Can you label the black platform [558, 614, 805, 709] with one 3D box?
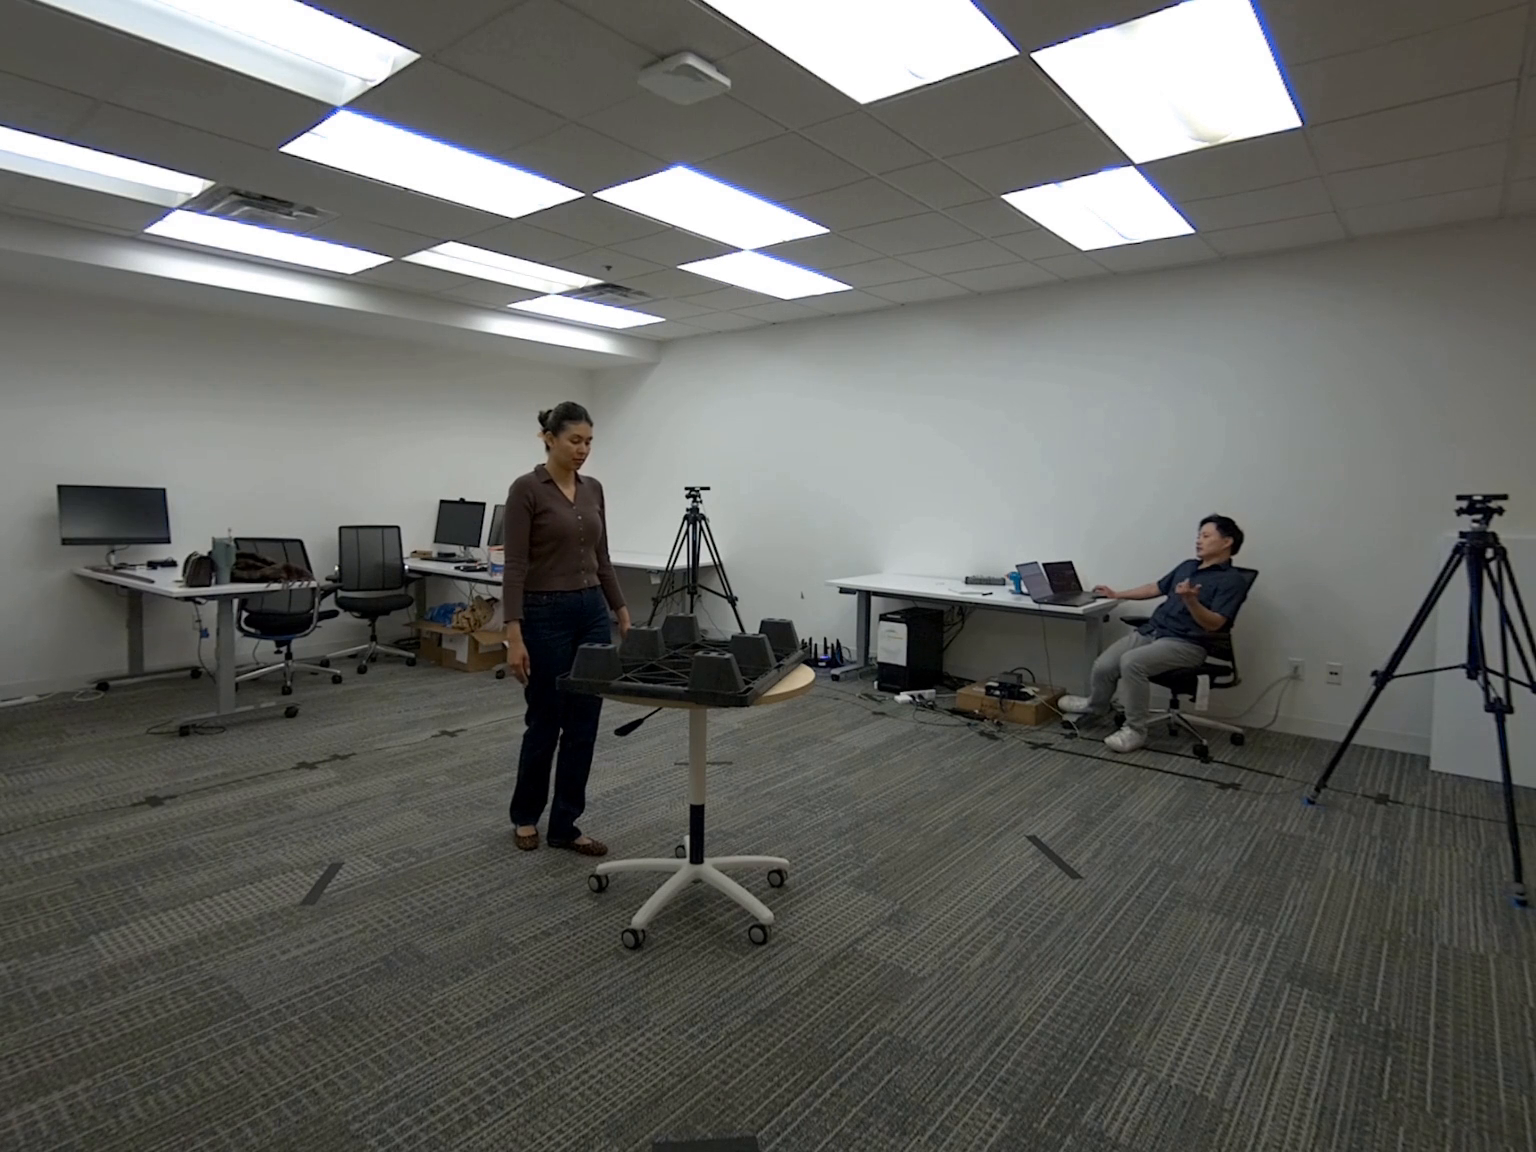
[{"bbox_3d":[-0.251,0.247,2.803,0.617,0.143,0.794,2,6,16],"label":"black platform"}]
